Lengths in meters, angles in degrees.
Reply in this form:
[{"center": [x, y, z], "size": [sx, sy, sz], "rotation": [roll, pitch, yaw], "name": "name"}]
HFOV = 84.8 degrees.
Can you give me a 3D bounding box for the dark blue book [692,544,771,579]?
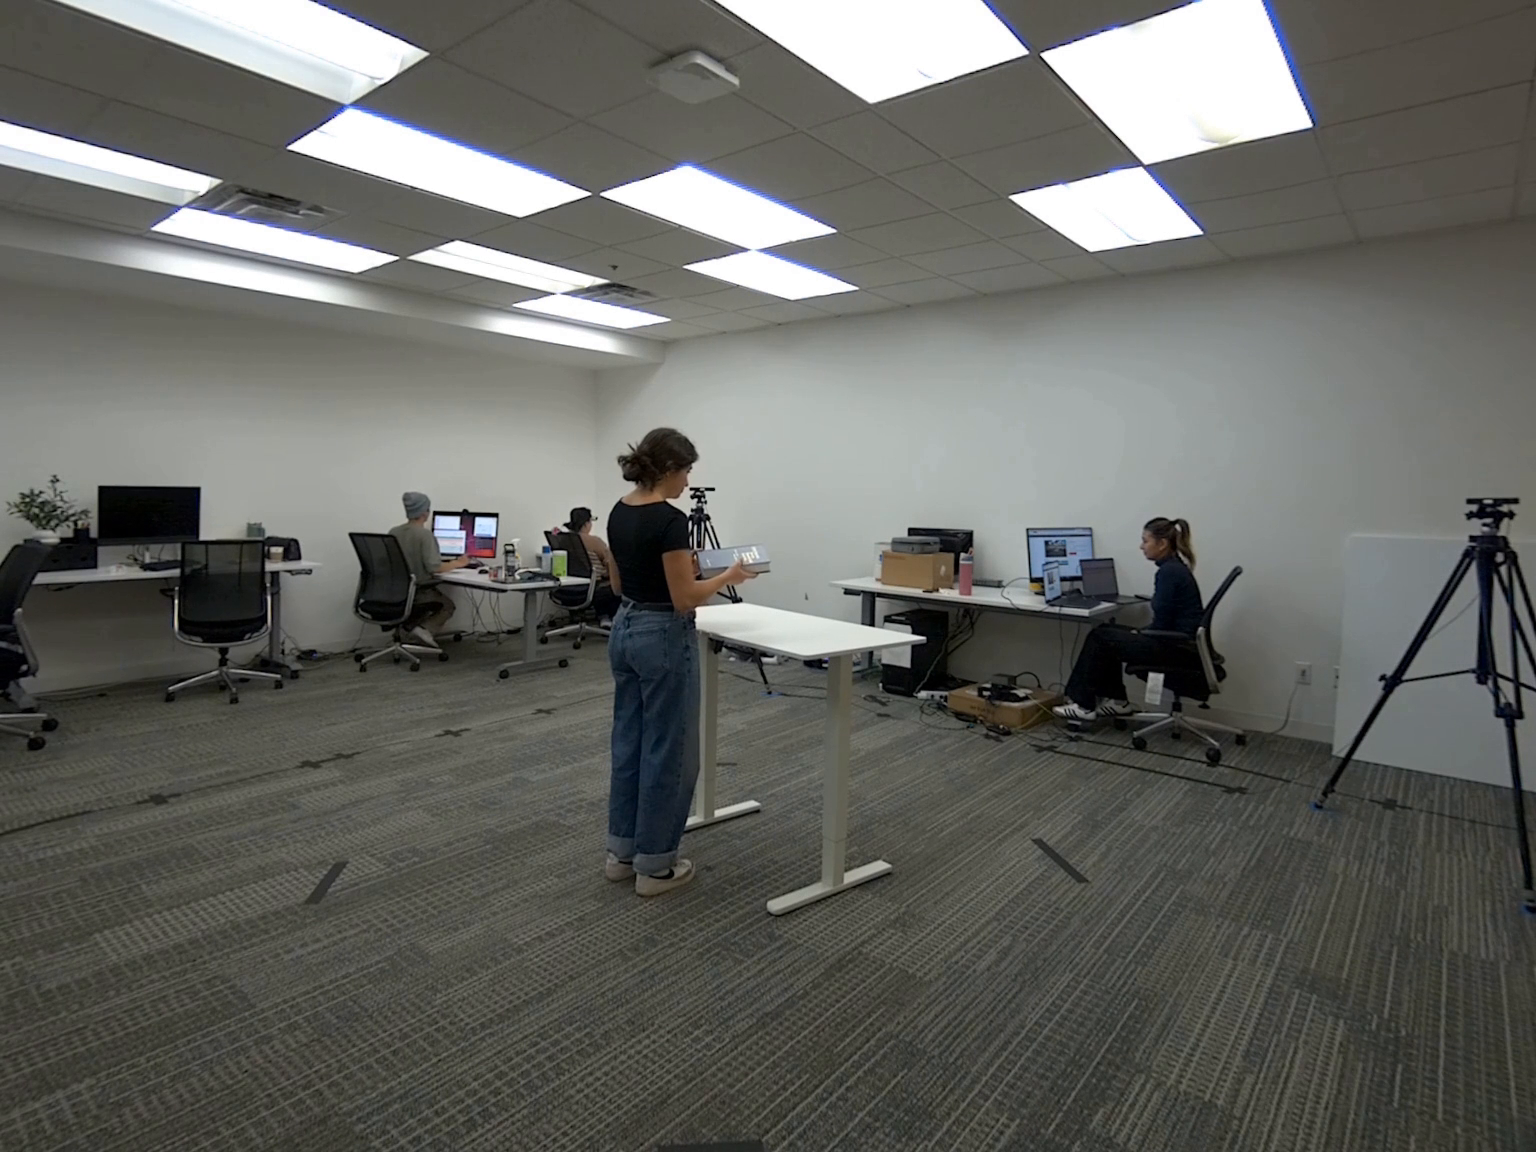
[{"center": [-0.134, -0.045, 3.019], "size": [0.242, 0.044, 0.169], "rotation": [-9, 27, -14], "name": "dark blue book"}]
